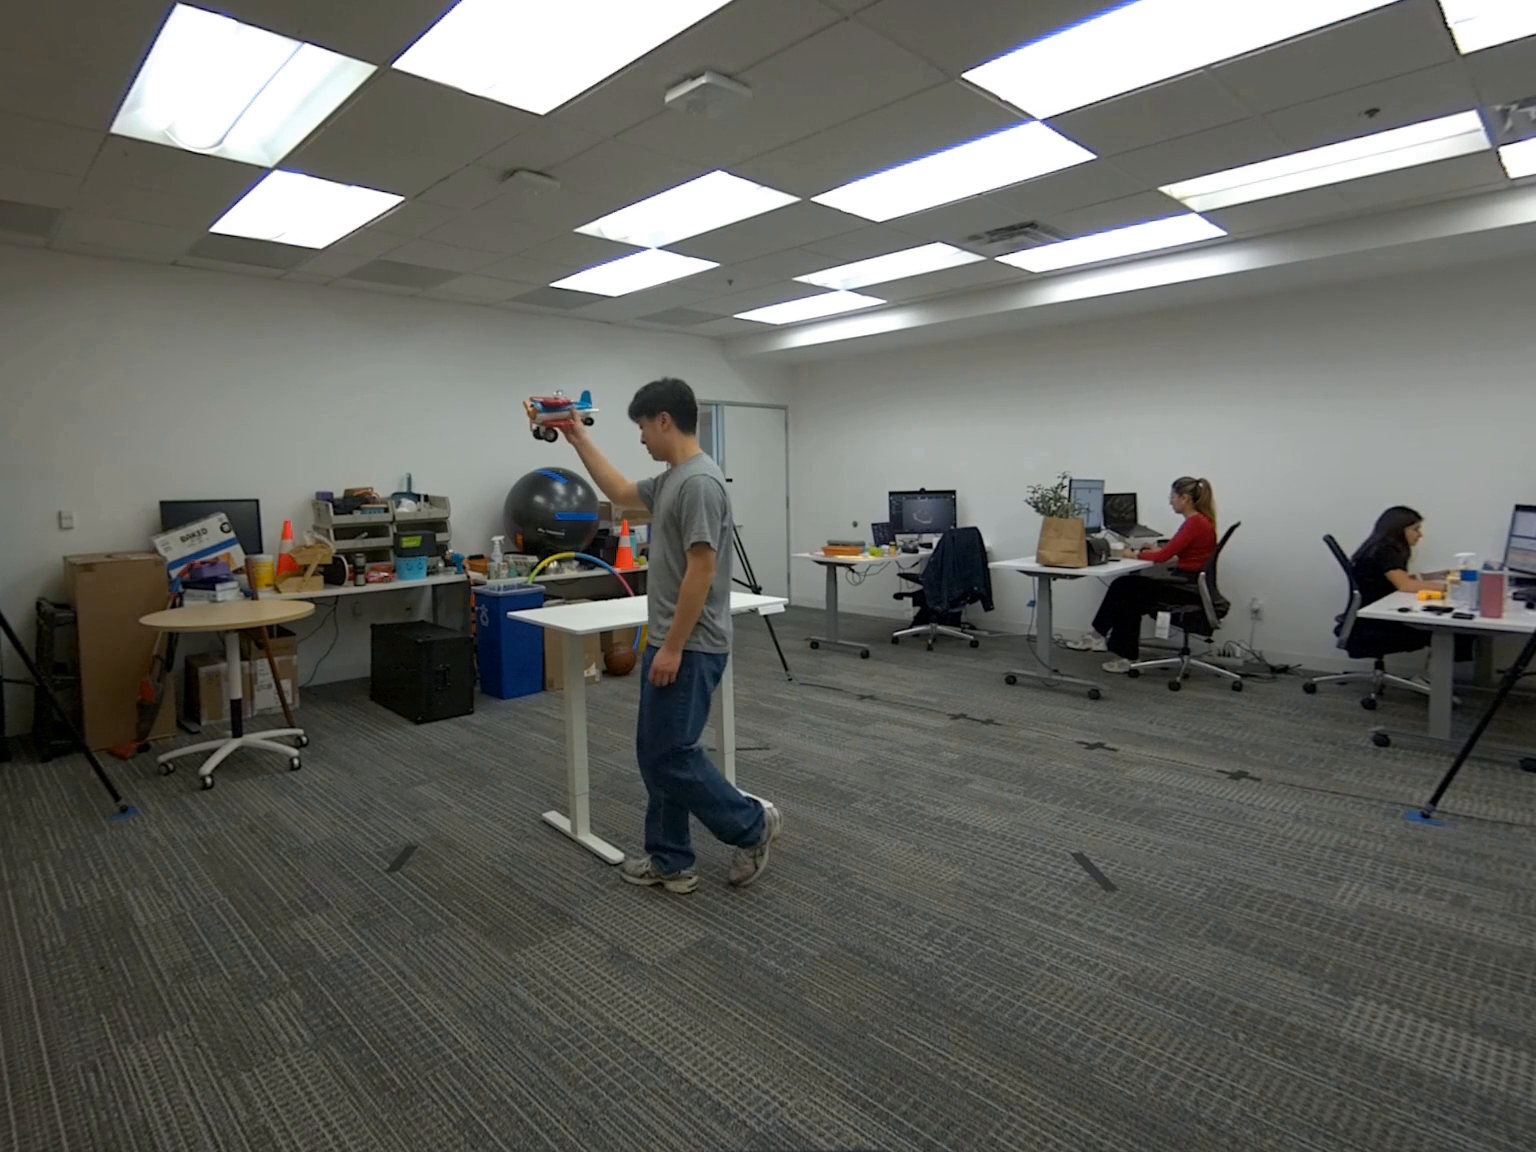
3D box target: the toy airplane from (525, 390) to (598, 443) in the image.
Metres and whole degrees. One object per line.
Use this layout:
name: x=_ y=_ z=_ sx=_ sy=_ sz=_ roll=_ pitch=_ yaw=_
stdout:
toy airplane: x=-0.770 y=-0.601 z=3.170 sx=0.257 sy=0.152 sz=0.259 roll=0 pitch=28 yaw=26
